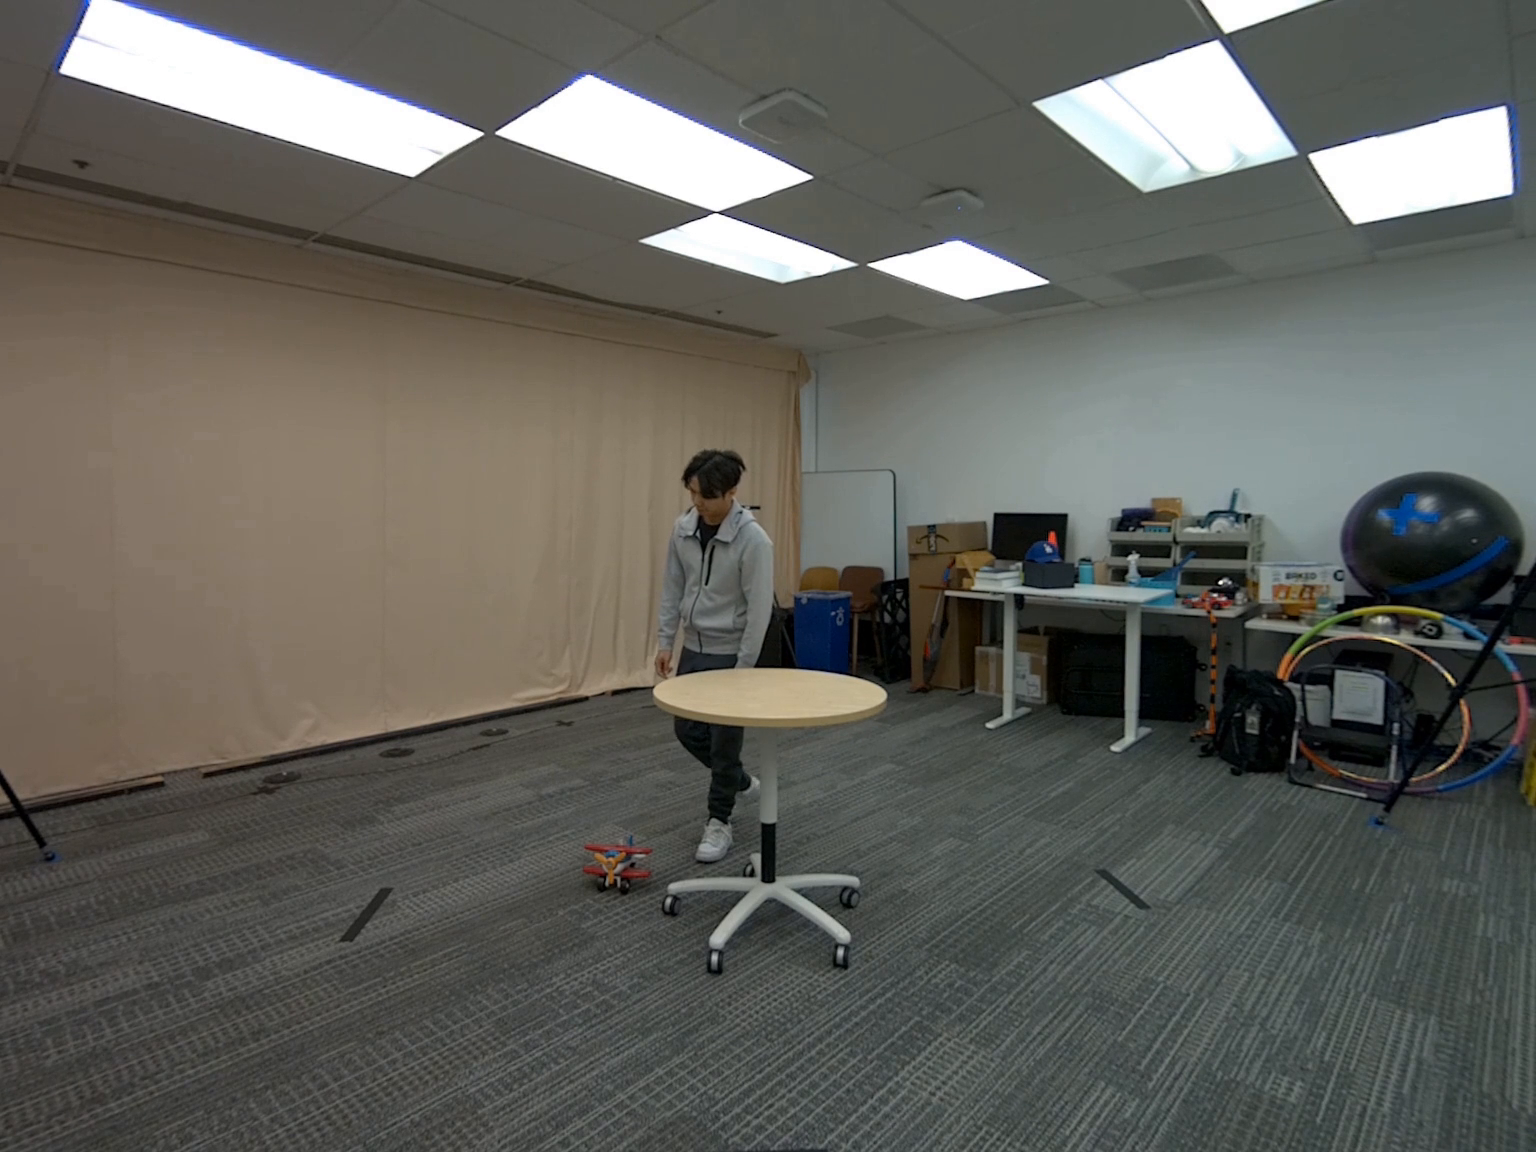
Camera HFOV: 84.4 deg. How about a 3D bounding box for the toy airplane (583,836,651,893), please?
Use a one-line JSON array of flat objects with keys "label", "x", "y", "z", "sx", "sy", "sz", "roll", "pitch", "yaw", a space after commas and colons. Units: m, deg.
[{"label": "toy airplane", "x": -0.562, "y": 1.062, "z": 3.127, "sx": 0.247, "sy": 0.156, "sz": 0.264, "roll": -2, "pitch": 5, "yaw": -18}]
